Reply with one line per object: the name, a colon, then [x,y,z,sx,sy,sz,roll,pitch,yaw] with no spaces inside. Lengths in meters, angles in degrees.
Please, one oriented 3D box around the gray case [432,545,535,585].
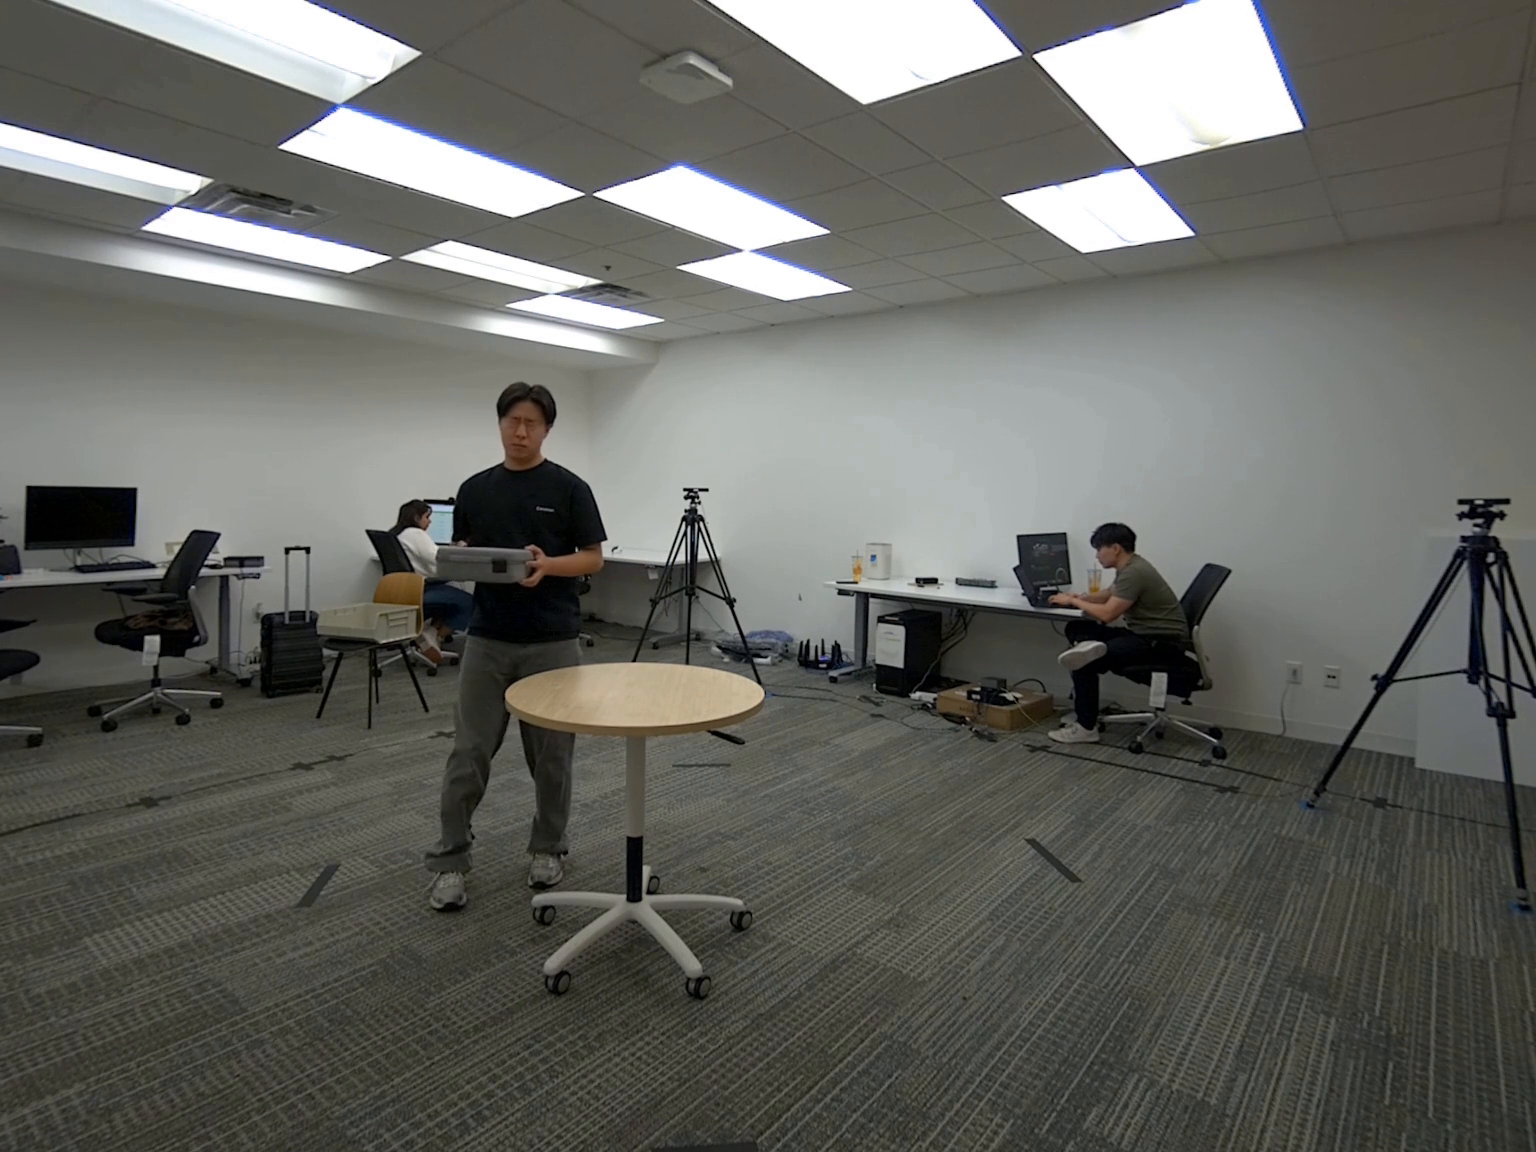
gray case: [-0.907,-0.044,2.725,0.264,0.103,0.286,2,2,2]
